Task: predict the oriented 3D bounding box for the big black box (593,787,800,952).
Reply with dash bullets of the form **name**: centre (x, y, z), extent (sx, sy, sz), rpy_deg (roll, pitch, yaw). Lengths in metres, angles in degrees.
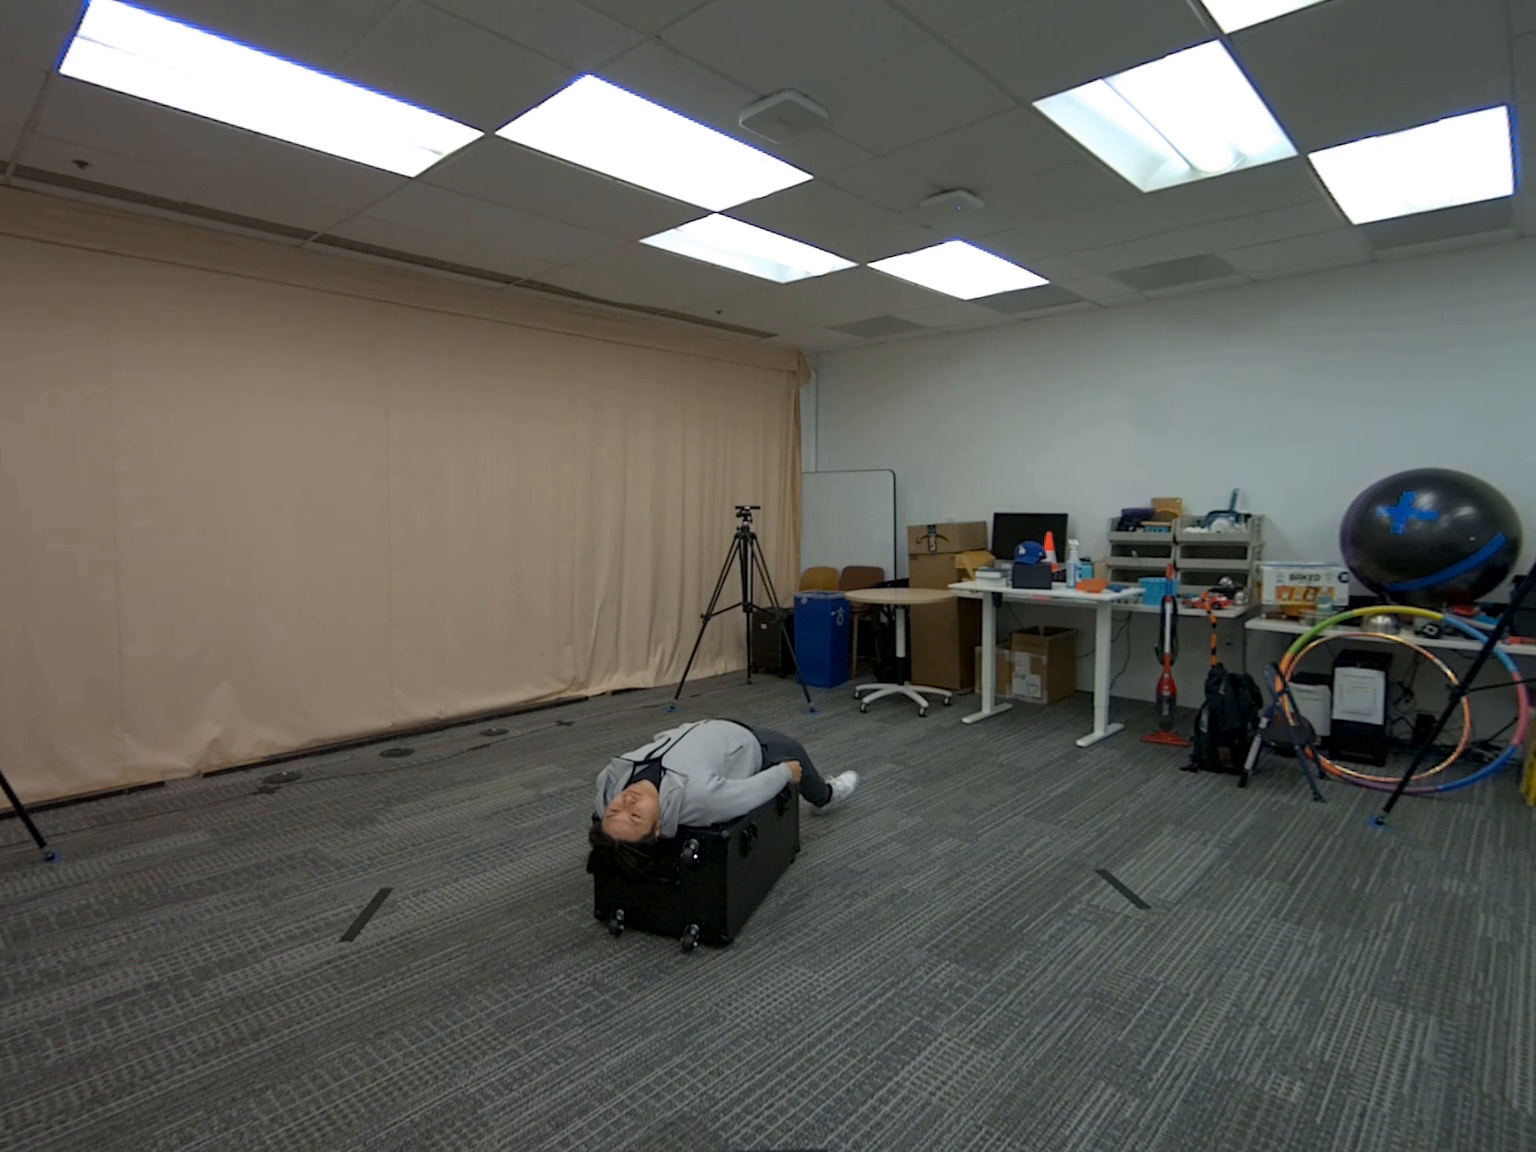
- **big black box**: centre (-0.210, 0.951, 3.087), extent (0.533, 0.395, 0.845), rpy_deg (2, 6, 21)
